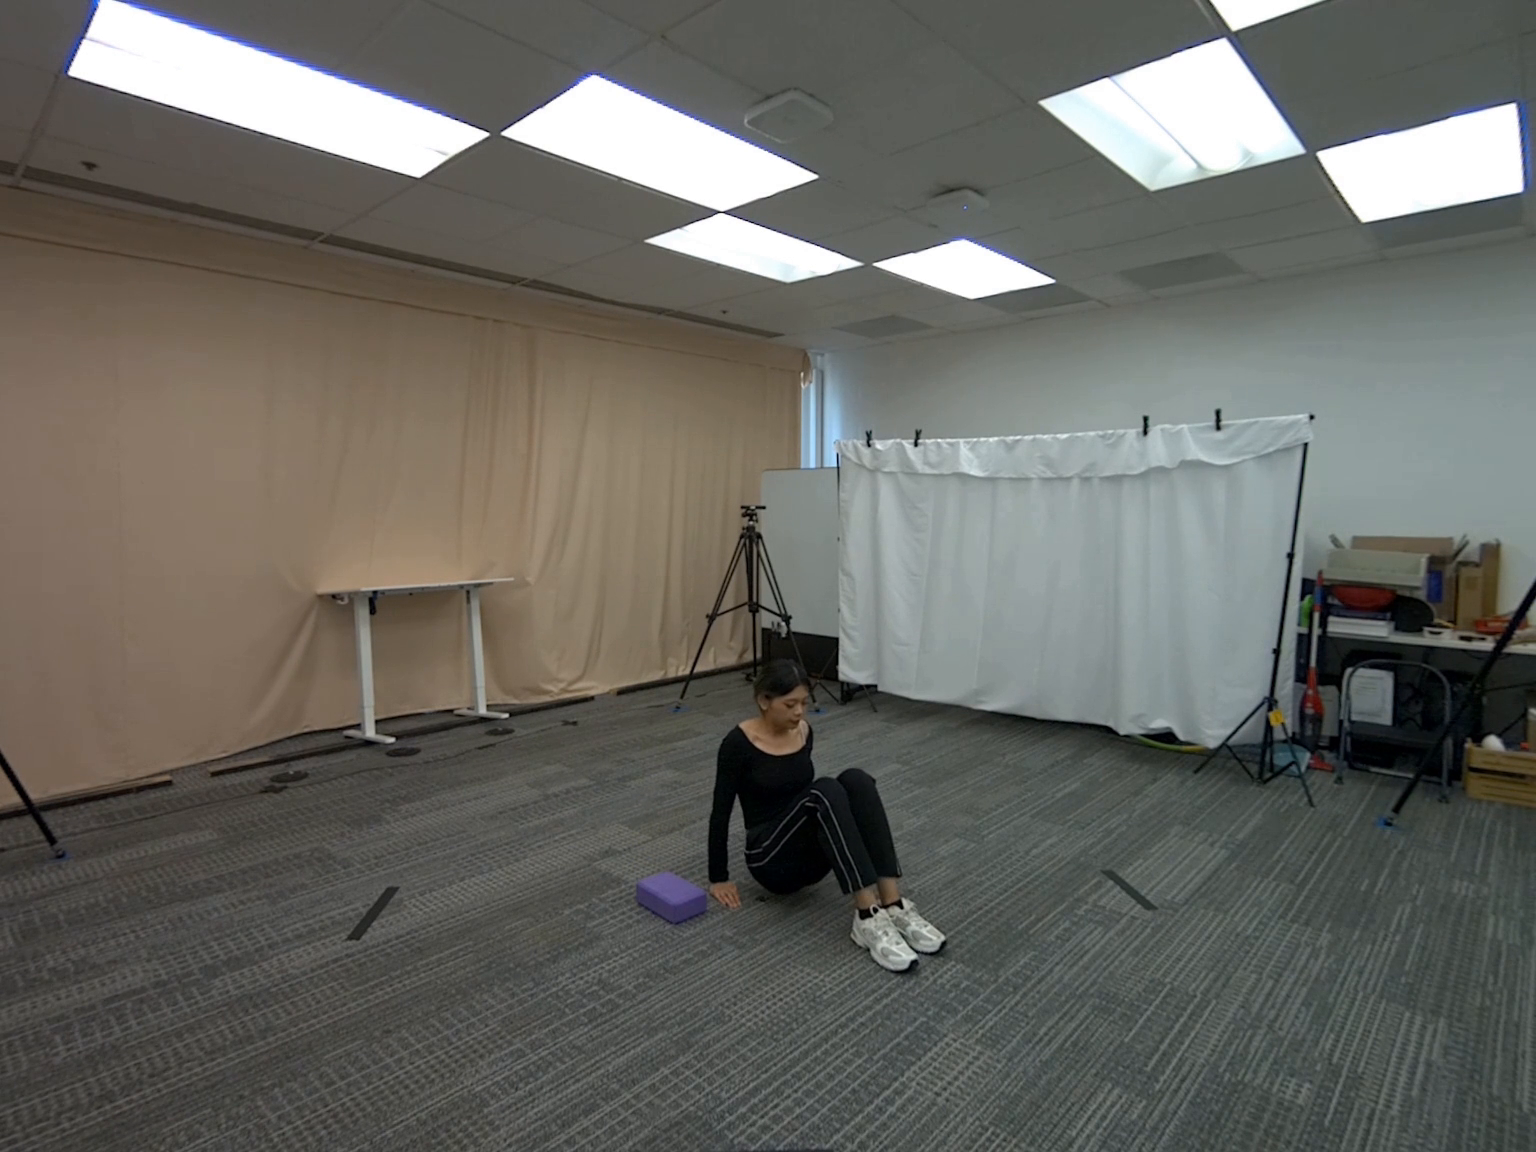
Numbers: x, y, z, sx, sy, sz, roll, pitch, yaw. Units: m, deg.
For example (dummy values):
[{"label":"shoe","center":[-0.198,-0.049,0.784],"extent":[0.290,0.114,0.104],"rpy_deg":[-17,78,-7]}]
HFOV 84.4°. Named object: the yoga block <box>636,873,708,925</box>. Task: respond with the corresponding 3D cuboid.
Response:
[{"label":"yoga block","center":[-0.339,1.118,2.923],"extent":[0.144,0.076,0.237],"rpy_deg":[-4,5,-43]}]
